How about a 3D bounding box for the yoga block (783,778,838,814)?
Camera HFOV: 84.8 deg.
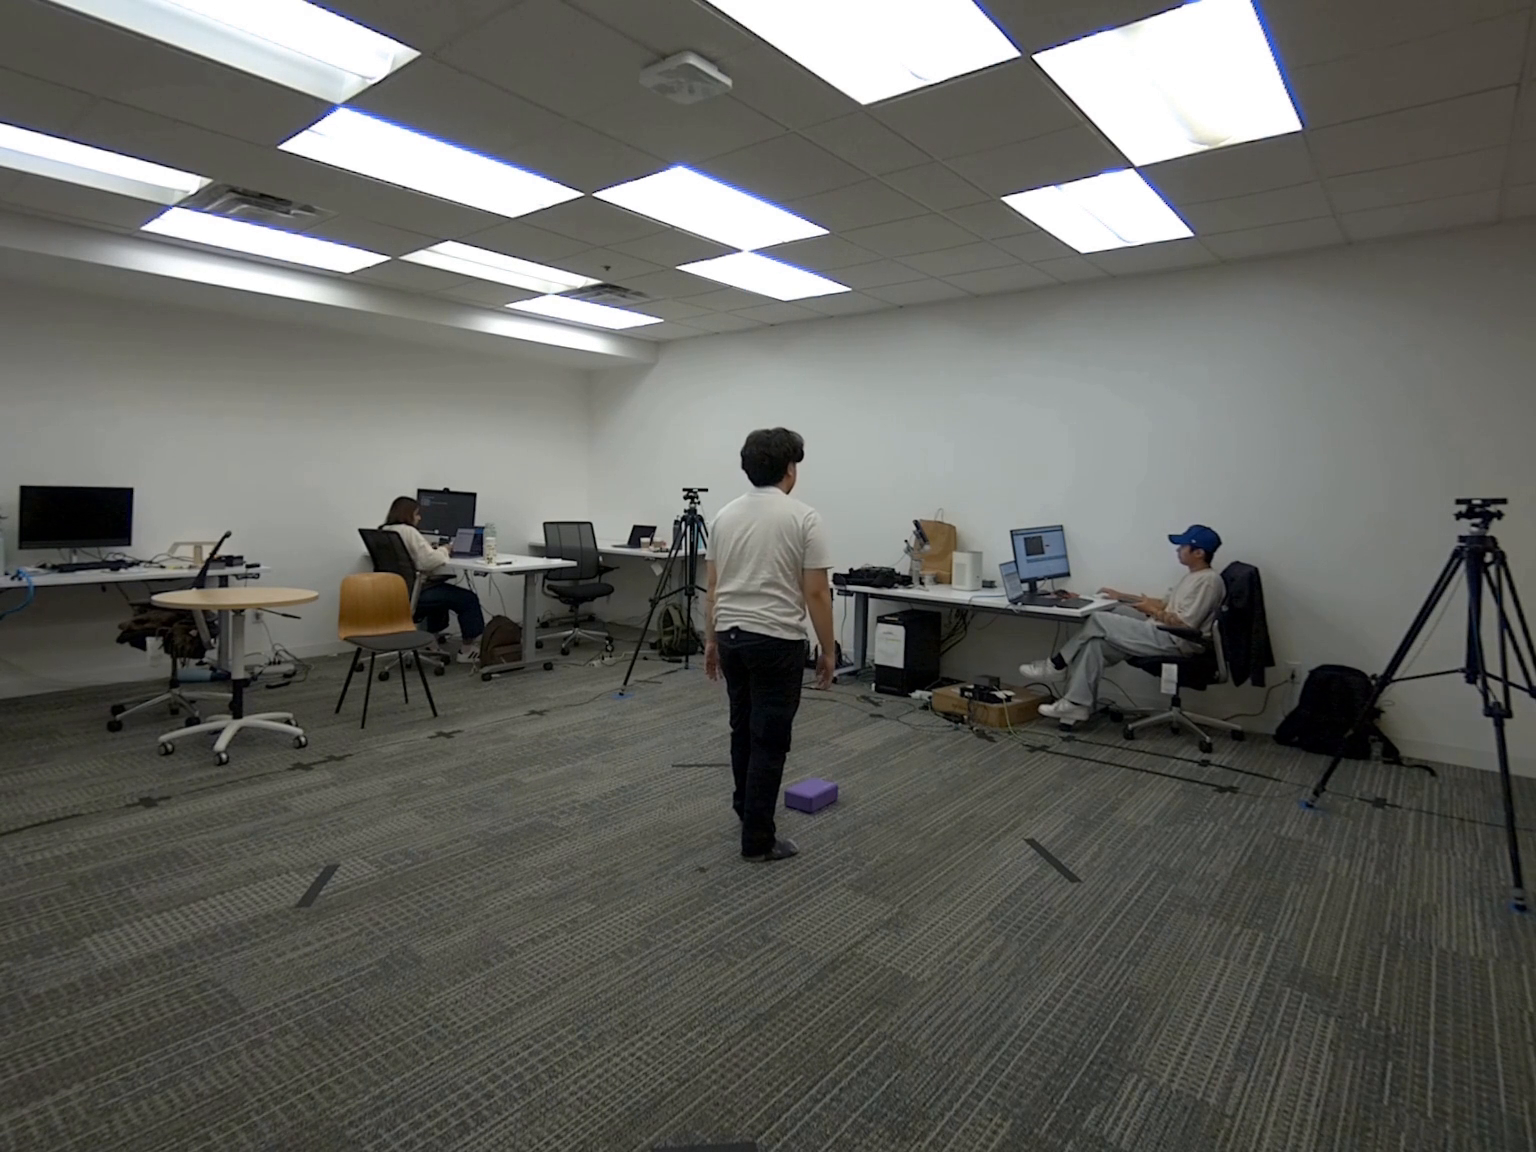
[{"bbox_3d":[0.182,0.969,3.791,0.154,0.076,0.223,3,5,37],"label":"yoga block"}]
